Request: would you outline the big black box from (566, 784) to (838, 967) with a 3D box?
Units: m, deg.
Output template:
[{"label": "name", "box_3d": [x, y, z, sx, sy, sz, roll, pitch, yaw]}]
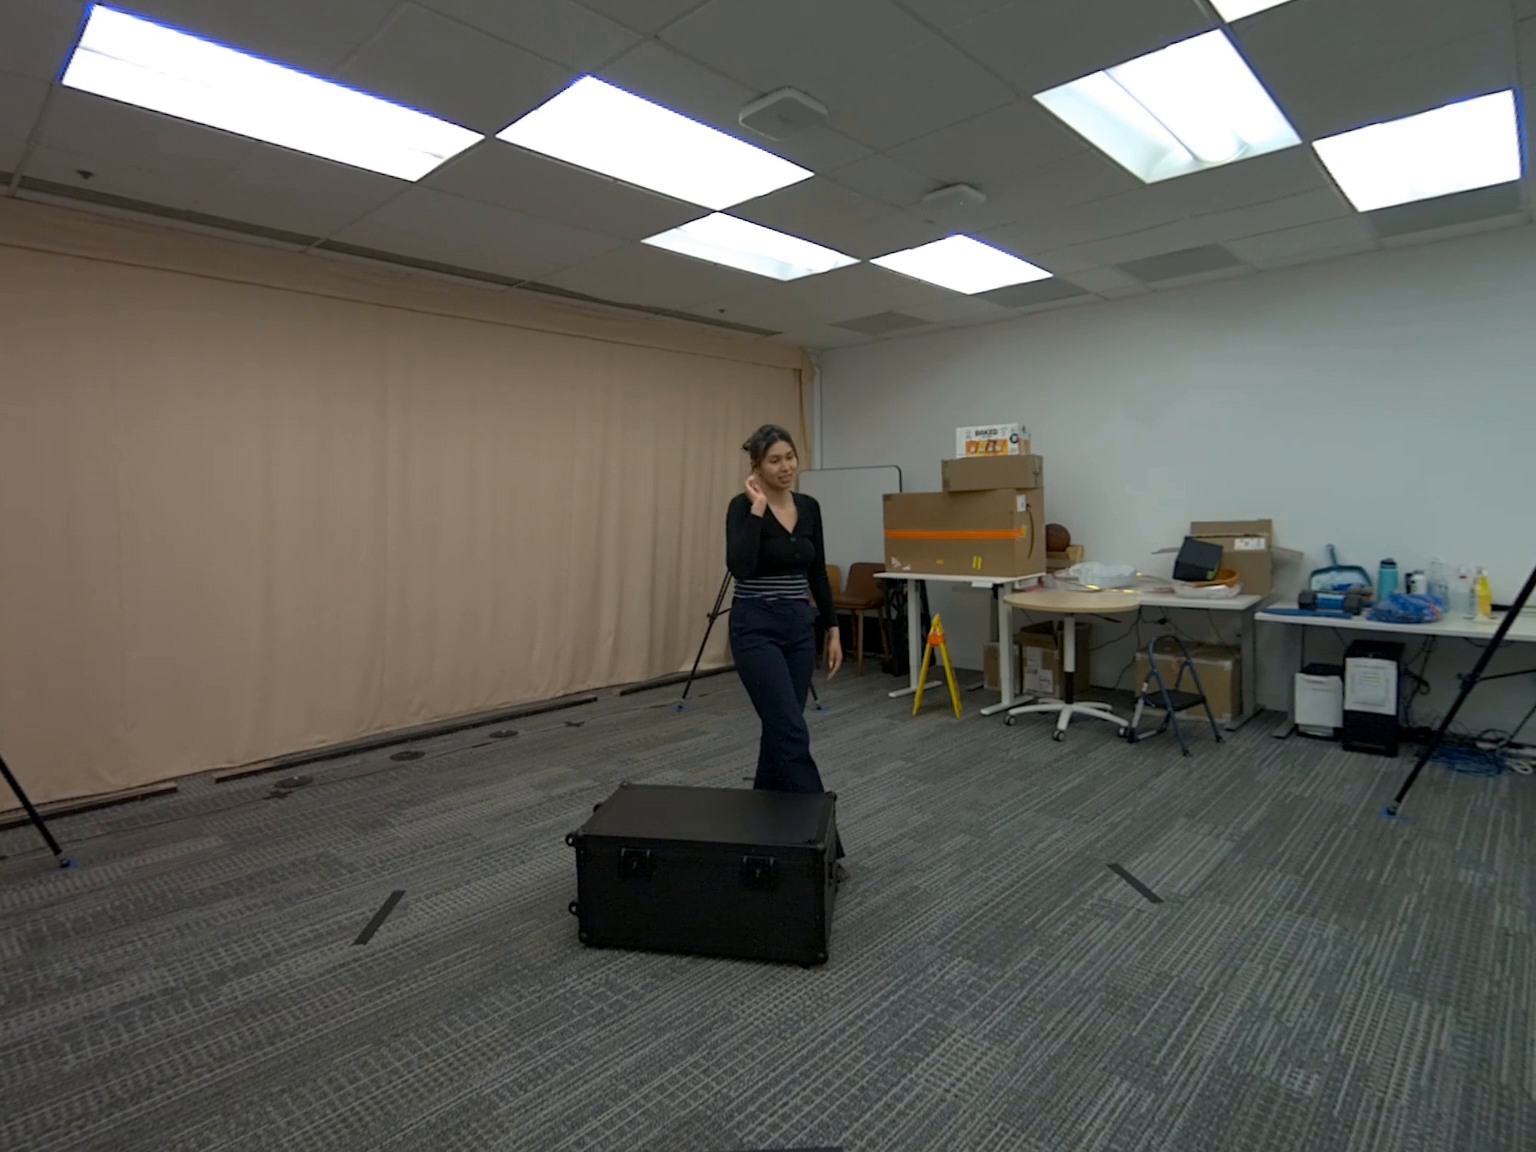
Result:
[{"label": "big black box", "box_3d": [-0.213, 0.962, 2.812, 0.872, 0.395, 0.516, 0, 4, 11]}]
